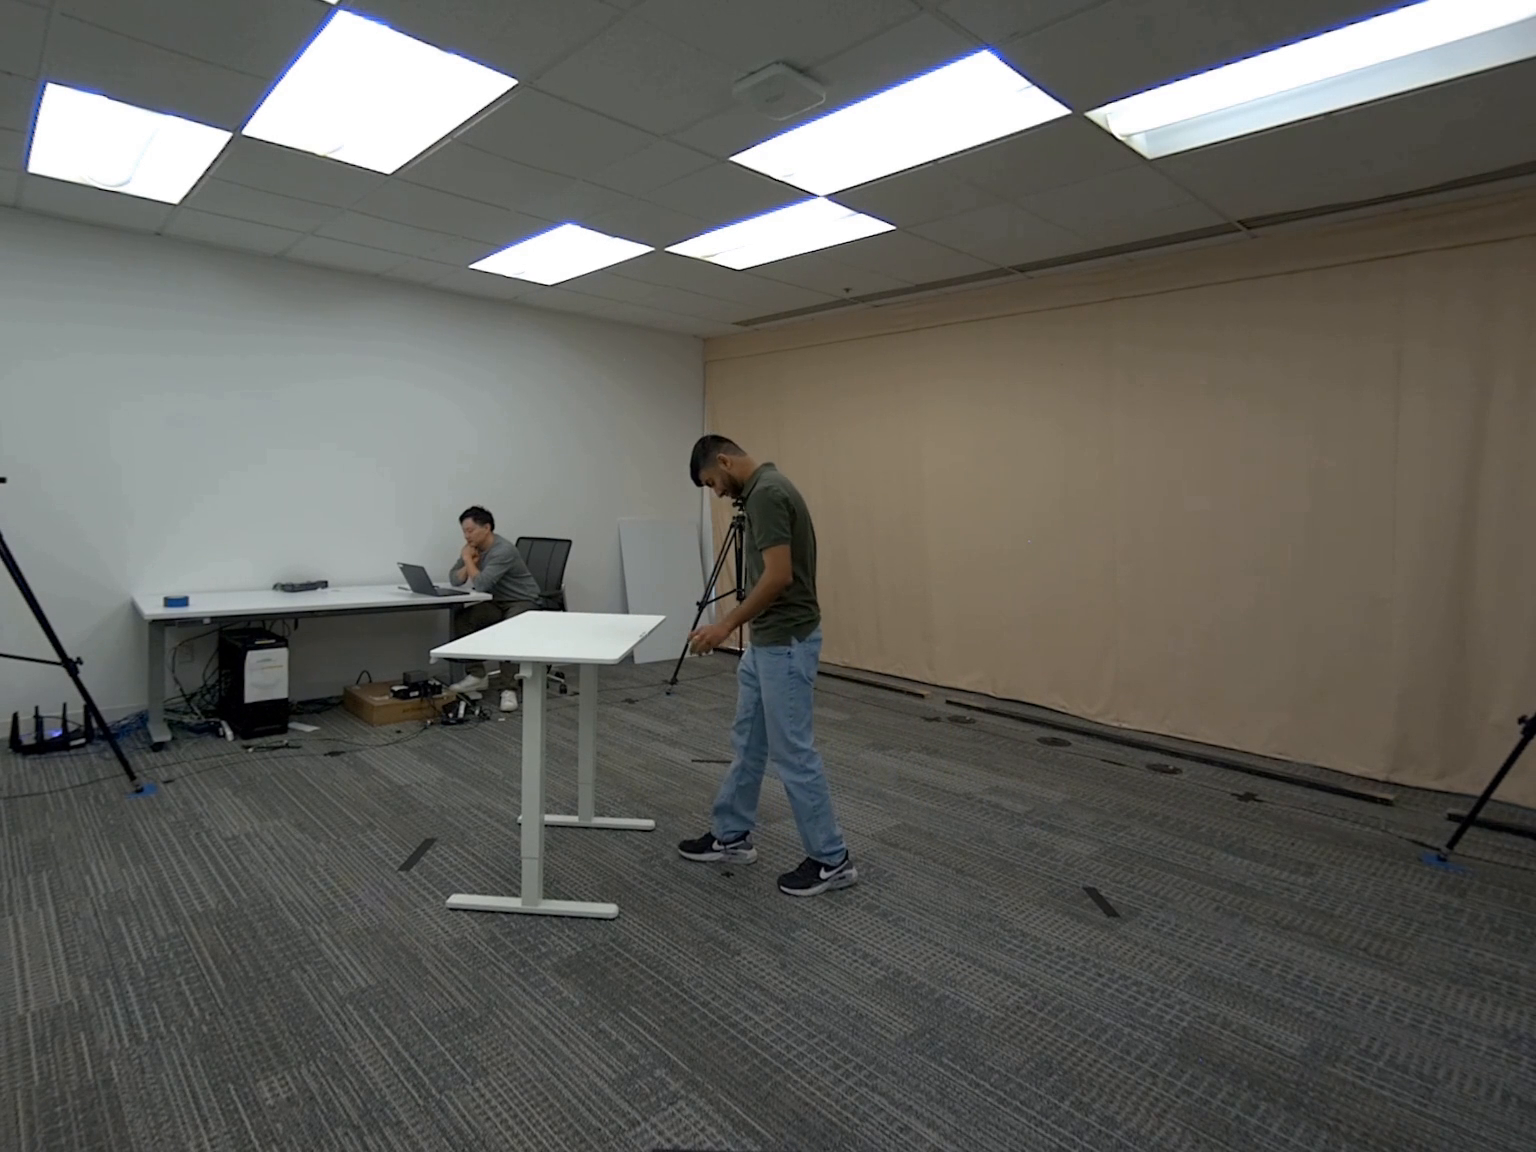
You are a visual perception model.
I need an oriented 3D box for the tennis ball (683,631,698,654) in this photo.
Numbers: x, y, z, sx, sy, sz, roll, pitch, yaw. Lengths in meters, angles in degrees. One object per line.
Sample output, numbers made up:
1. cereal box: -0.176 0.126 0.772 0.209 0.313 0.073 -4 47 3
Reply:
1. tennis ball: -0.263 0.233 2.984 0.066 0.066 0.067 1 4 -1
